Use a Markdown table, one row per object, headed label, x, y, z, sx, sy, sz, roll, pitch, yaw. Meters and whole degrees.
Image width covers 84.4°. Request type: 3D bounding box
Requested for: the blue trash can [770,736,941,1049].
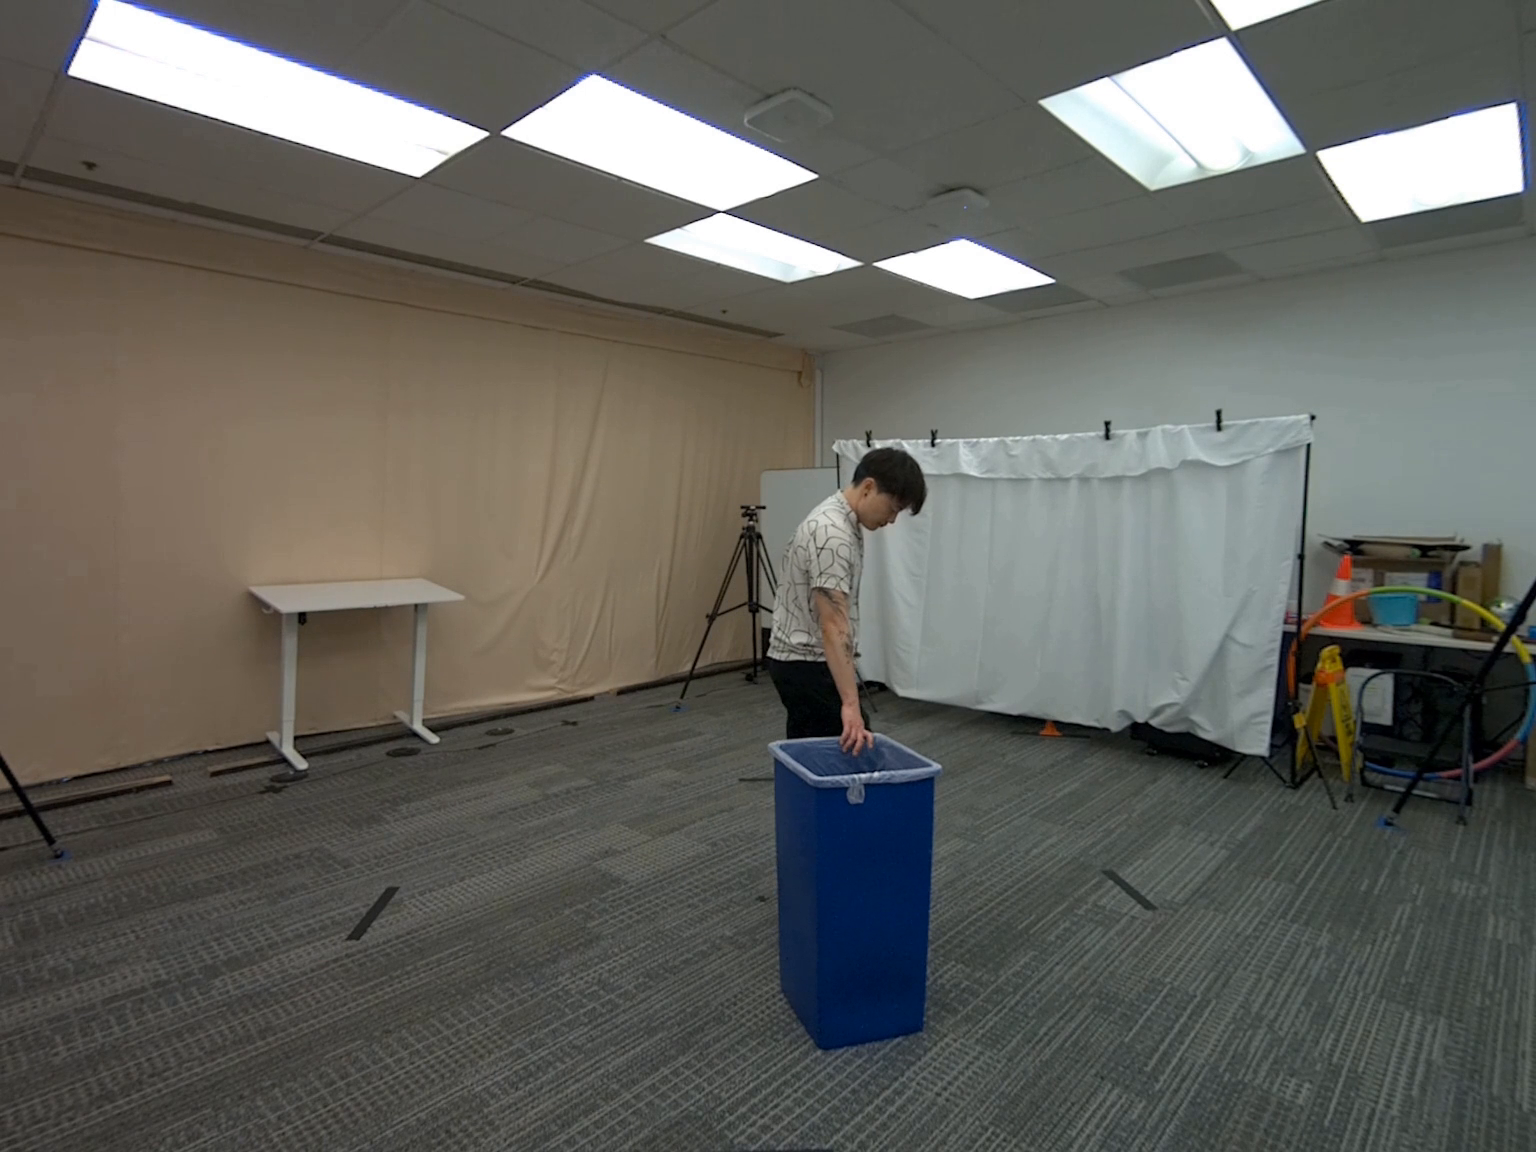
| label | x | y | z | sx | sy | sz | roll | pitch | yaw |
| --- | --- | --- | --- | --- | --- | --- | --- | --- | --- |
| blue trash can | 0.221 | 0.841 | 2.321 | 0.371 | 0.712 | 0.382 | 0 | 3 | -19 |
